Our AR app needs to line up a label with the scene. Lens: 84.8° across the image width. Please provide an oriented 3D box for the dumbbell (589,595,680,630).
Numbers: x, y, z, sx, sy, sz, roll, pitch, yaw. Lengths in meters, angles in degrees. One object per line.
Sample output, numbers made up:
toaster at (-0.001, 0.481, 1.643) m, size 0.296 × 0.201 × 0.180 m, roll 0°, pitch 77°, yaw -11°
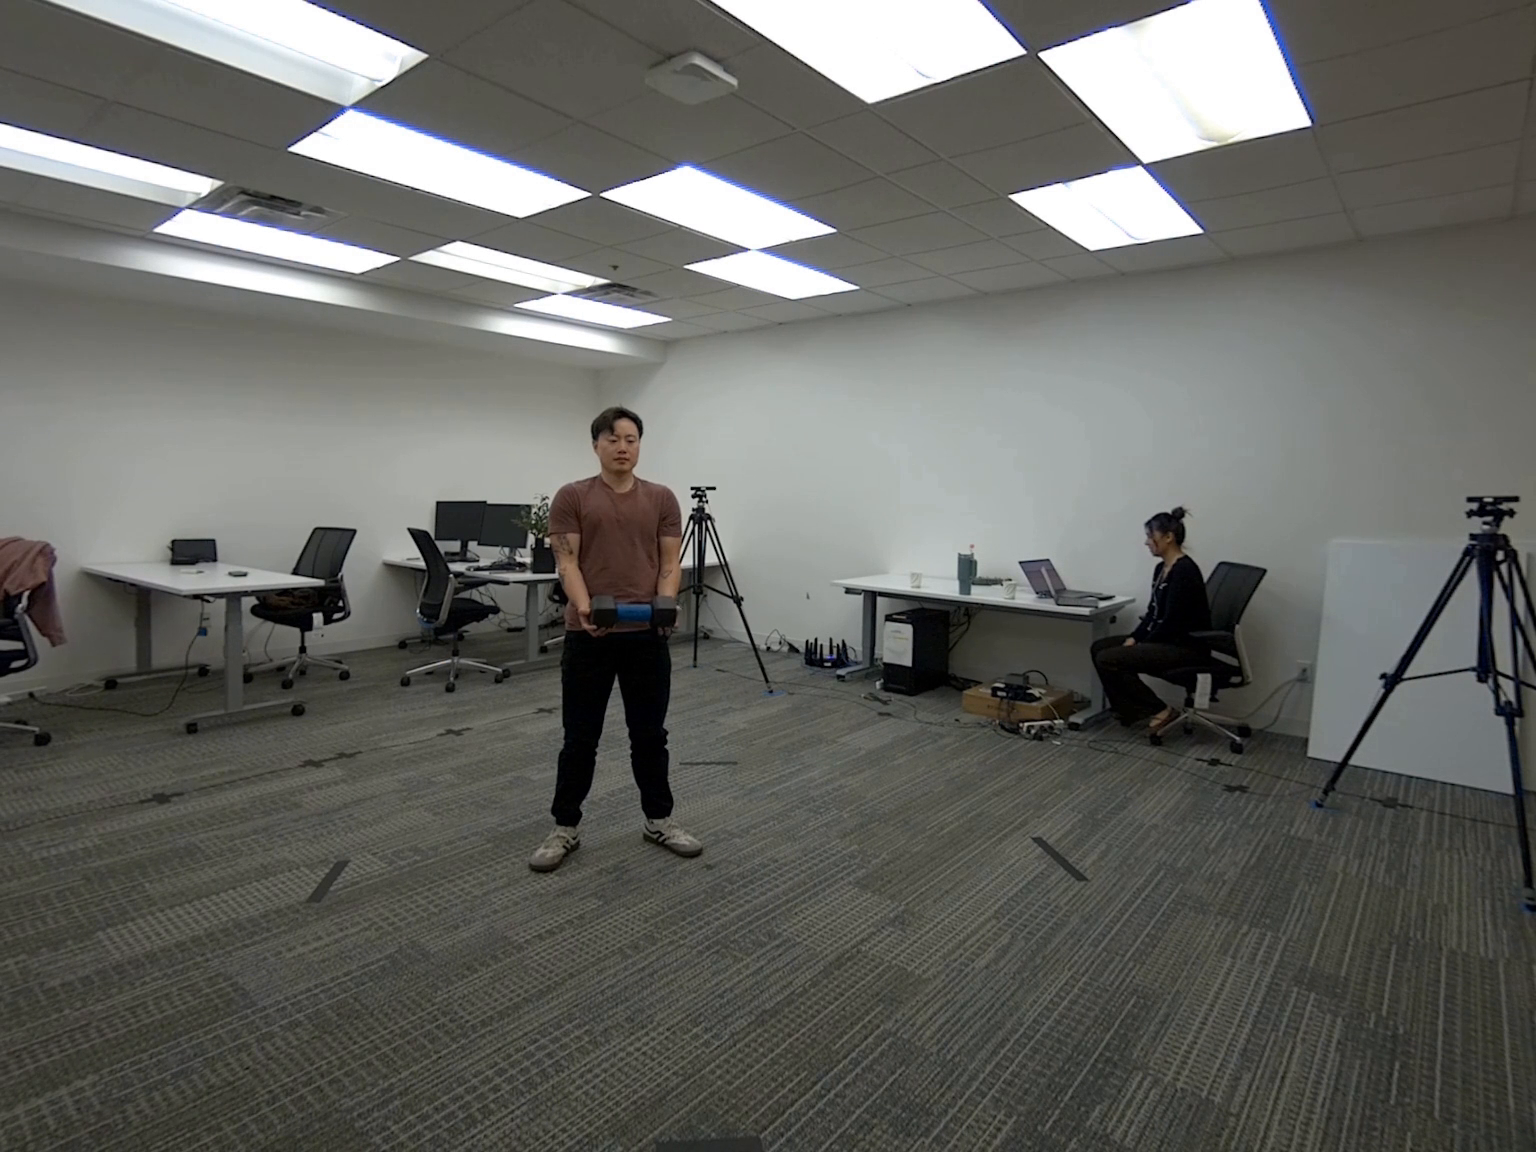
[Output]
dumbbell at (-0.485, 0.120, 2.933) m, size 0.288 × 0.107 × 0.128 m, roll 0°, pitch 42°, yaw -19°
